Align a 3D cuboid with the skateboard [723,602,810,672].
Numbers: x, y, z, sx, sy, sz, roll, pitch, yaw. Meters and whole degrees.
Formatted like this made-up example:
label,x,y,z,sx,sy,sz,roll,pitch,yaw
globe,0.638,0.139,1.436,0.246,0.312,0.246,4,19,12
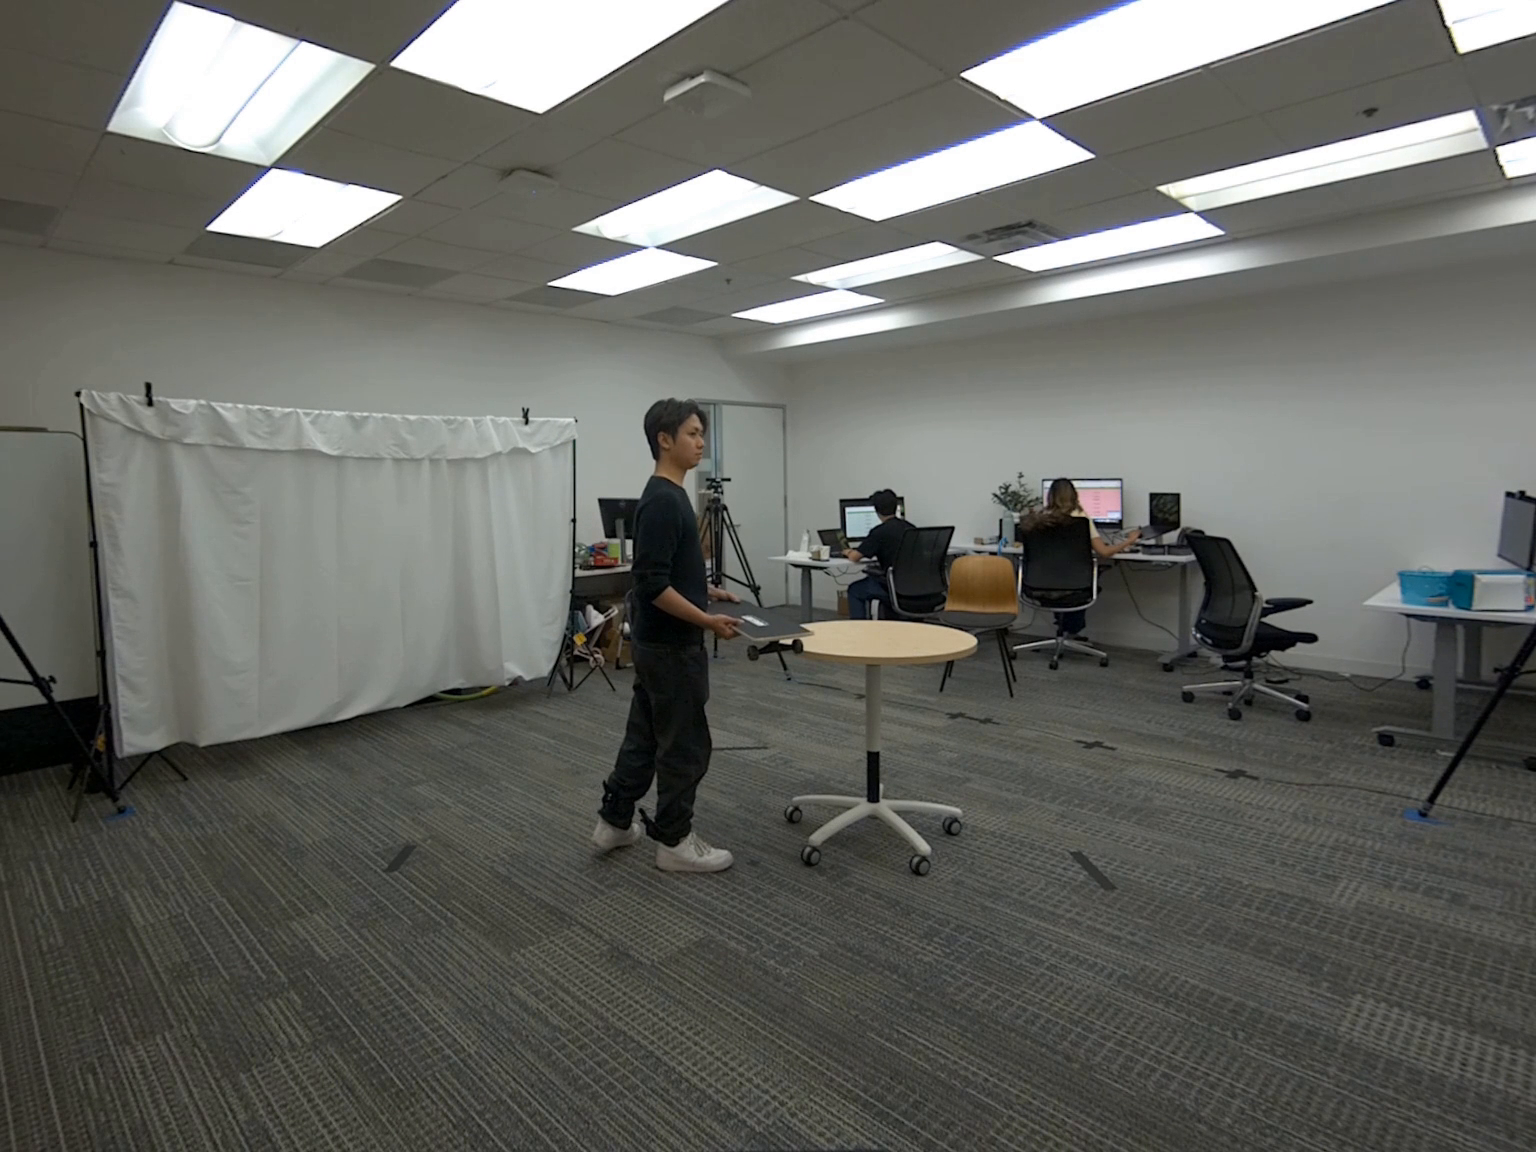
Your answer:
label,x,y,z,sx,sy,sz,roll,pitch,yaw
skateboard,-0.048,0.190,2.940,0.191,0.109,0.801,-8,9,-17
